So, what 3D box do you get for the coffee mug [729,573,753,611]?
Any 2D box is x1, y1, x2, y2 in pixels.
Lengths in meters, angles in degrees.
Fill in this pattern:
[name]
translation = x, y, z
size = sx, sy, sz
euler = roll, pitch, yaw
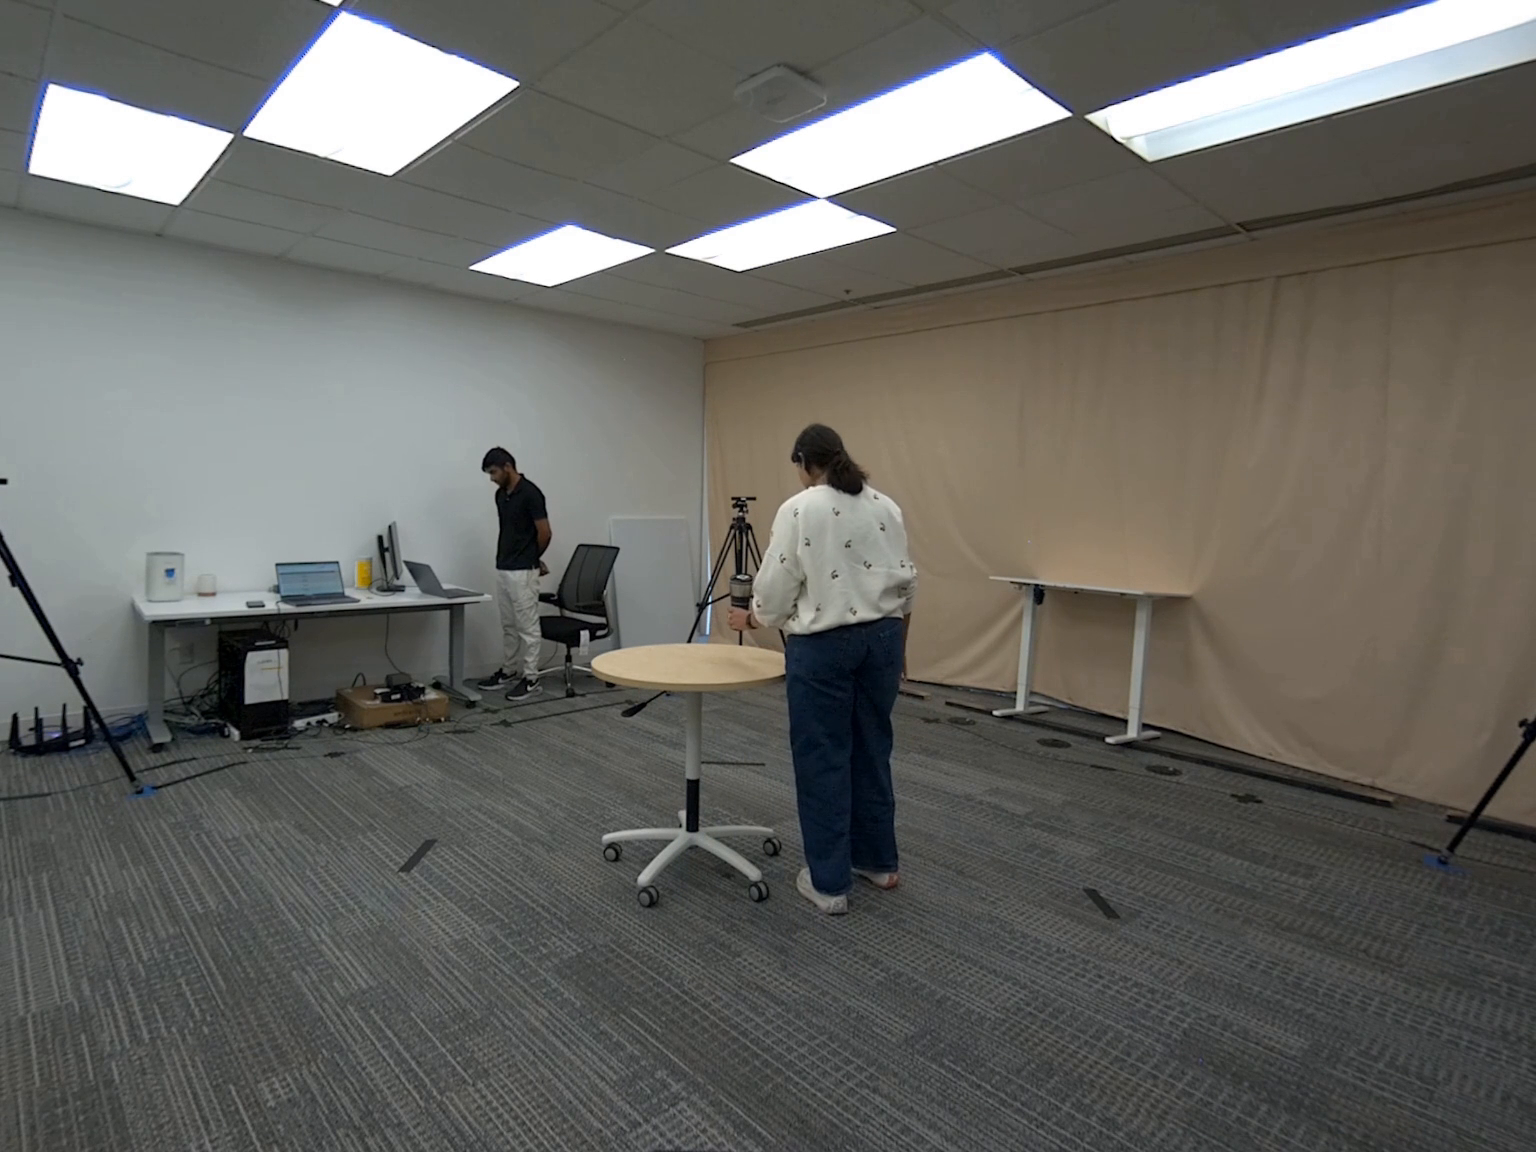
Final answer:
[coffee mug]
translation = -0.096, 0.094, 3.177
size = 0.090, 0.201, 0.120
euler = 5, 13, 25
